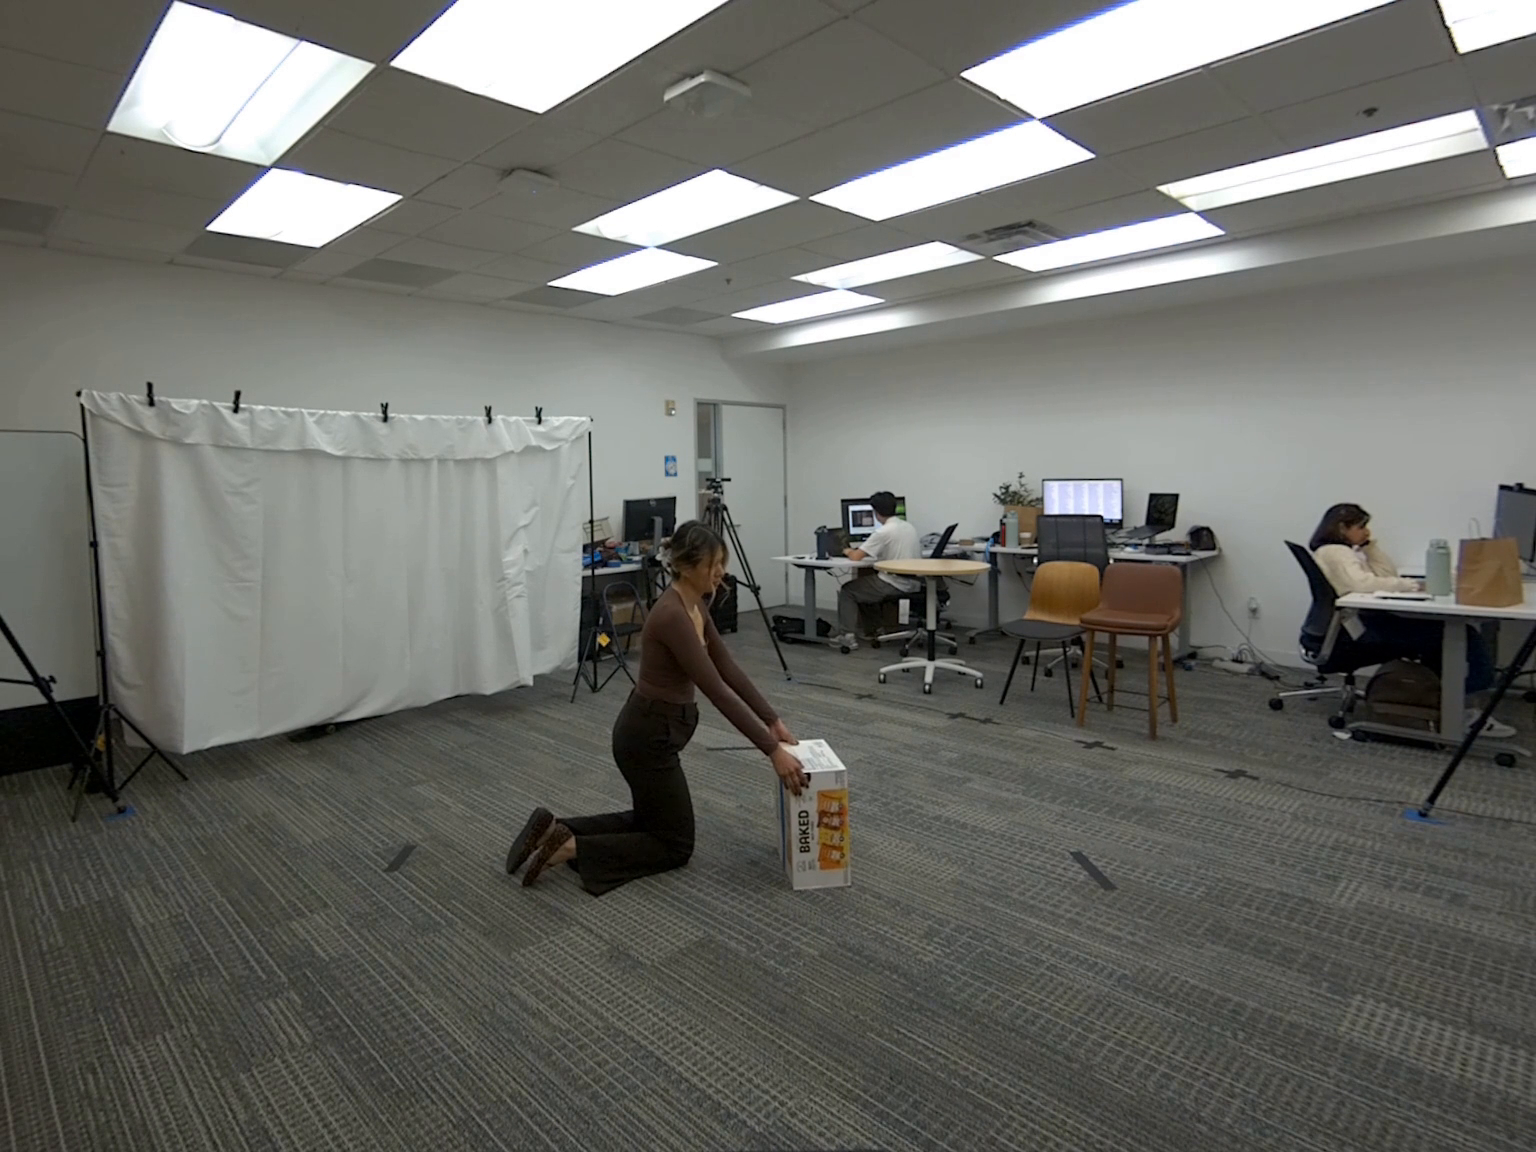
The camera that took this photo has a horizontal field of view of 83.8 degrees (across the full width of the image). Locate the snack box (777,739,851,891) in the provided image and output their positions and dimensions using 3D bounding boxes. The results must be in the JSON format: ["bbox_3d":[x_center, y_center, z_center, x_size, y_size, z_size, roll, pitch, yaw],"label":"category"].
[{"bbox_3d":[0.150,0.837,3.054,0.204,0.404,0.344,-3,4,-8],"label":"snack box"}]
